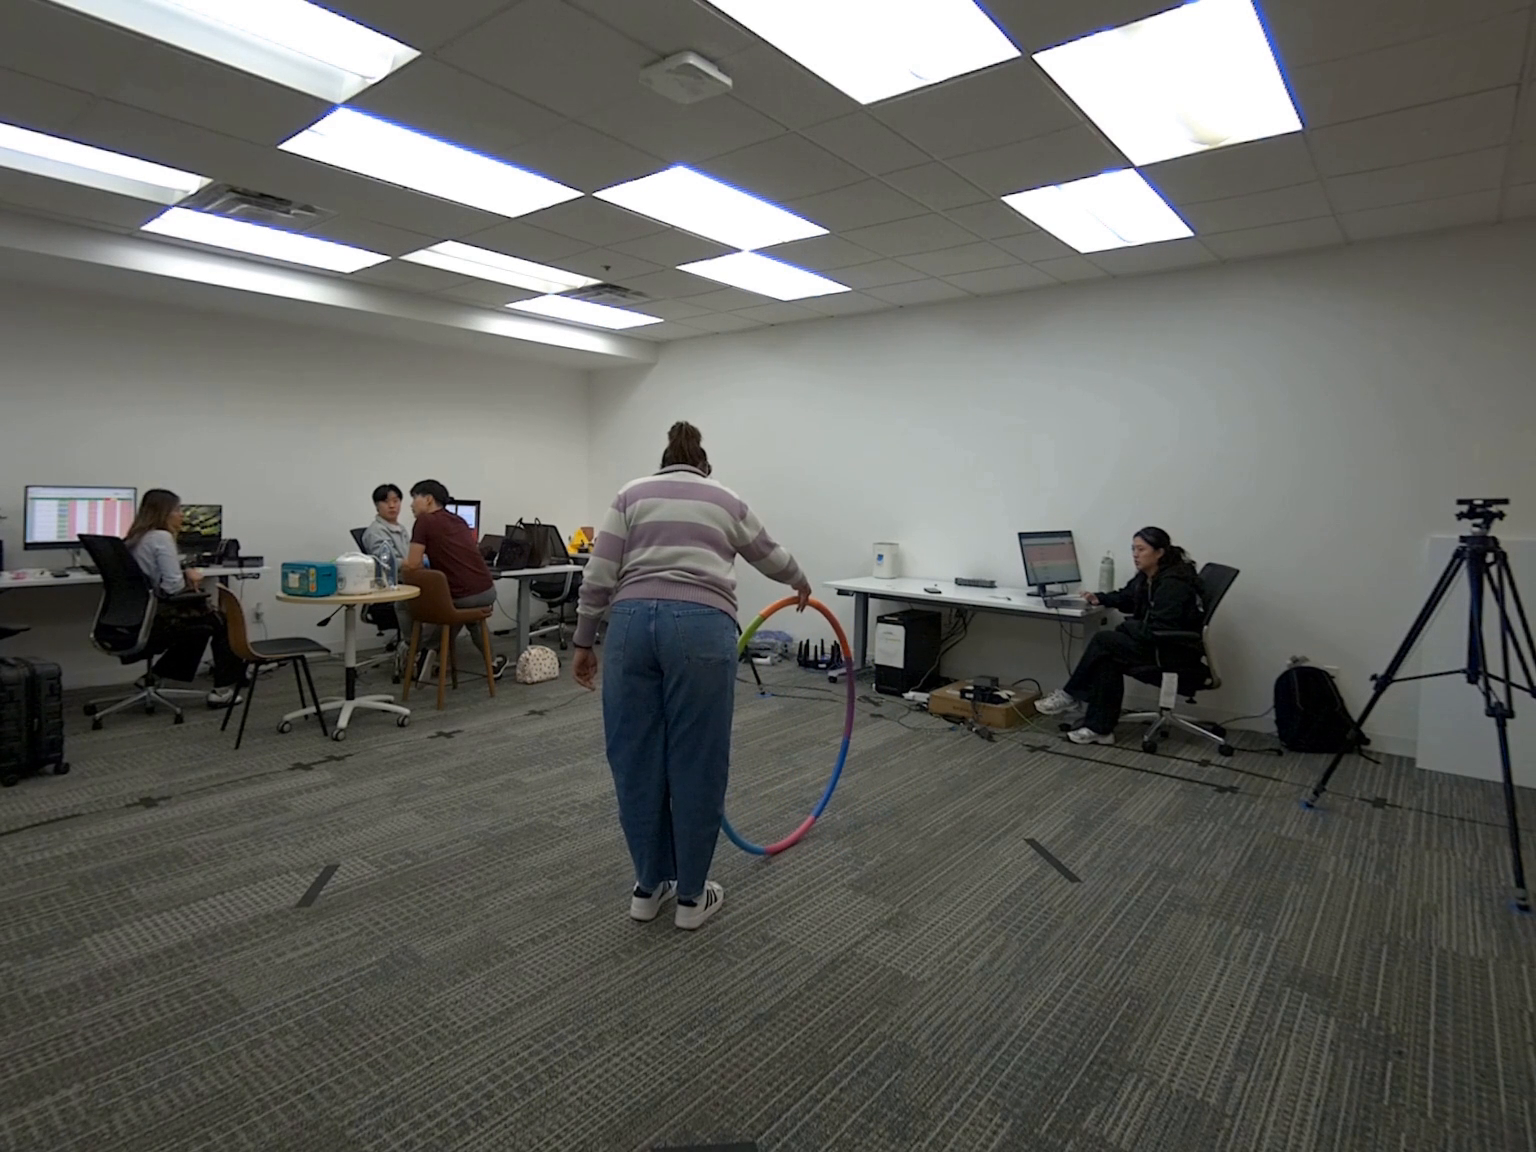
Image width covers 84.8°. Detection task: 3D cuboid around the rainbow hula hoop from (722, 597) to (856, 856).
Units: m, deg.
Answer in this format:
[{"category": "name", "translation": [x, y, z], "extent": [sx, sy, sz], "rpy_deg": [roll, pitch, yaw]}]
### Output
[{"category": "rainbow hula hoop", "translation": [0.071, 0.567, 3.290], "extent": [0.037, 0.975, 0.950], "rpy_deg": [3, 5, 36]}]
